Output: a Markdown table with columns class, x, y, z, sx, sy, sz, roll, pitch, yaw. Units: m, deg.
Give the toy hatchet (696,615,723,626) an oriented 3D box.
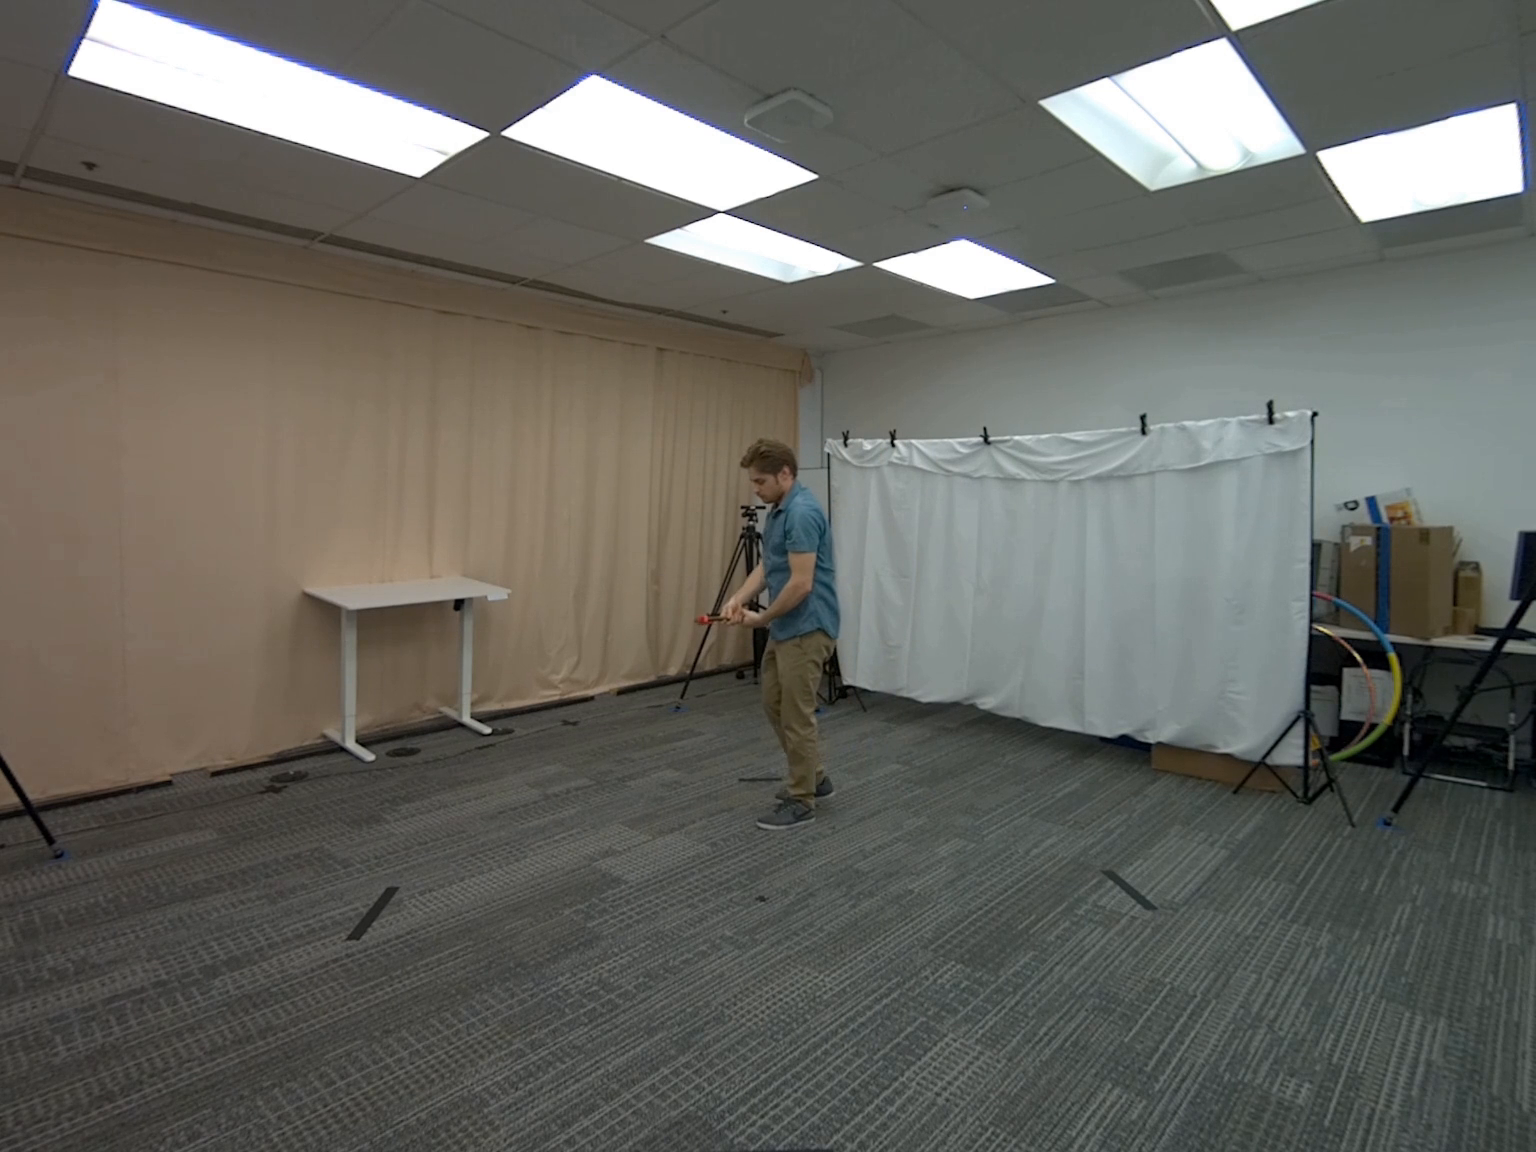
| class | x | y | z | sx | sy | sz | roll | pitch | yaw |
| --- | --- | --- | --- | --- | --- | --- | --- | --- | --- |
| toy hatchet | -0.176 | 0.204 | 3.643 | 0.263 | 0.030 | 0.133 | 5 | -19 | -25 |
